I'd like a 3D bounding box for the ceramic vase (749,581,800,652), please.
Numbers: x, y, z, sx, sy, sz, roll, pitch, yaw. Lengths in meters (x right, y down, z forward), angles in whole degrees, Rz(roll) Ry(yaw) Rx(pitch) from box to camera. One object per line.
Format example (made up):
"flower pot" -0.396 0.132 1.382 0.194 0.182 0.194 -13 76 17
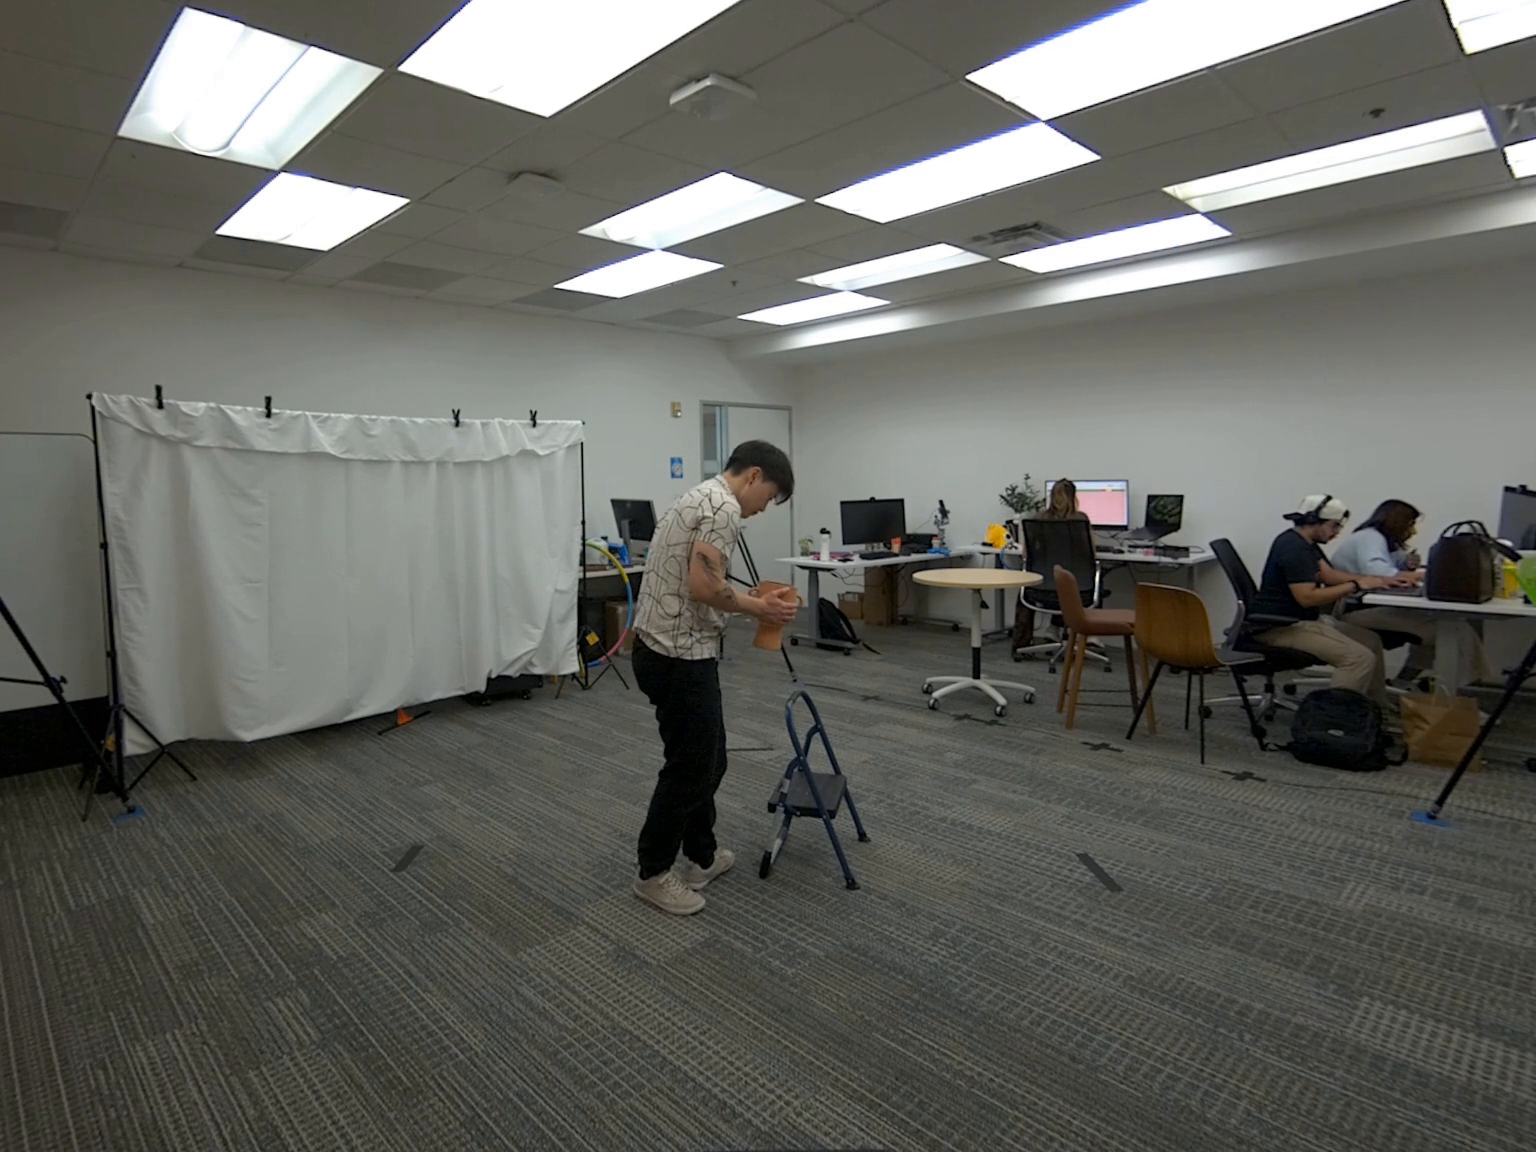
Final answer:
"ceramic vase" 0.014 0.134 2.880 0.163 0.220 0.131 11 1 22
